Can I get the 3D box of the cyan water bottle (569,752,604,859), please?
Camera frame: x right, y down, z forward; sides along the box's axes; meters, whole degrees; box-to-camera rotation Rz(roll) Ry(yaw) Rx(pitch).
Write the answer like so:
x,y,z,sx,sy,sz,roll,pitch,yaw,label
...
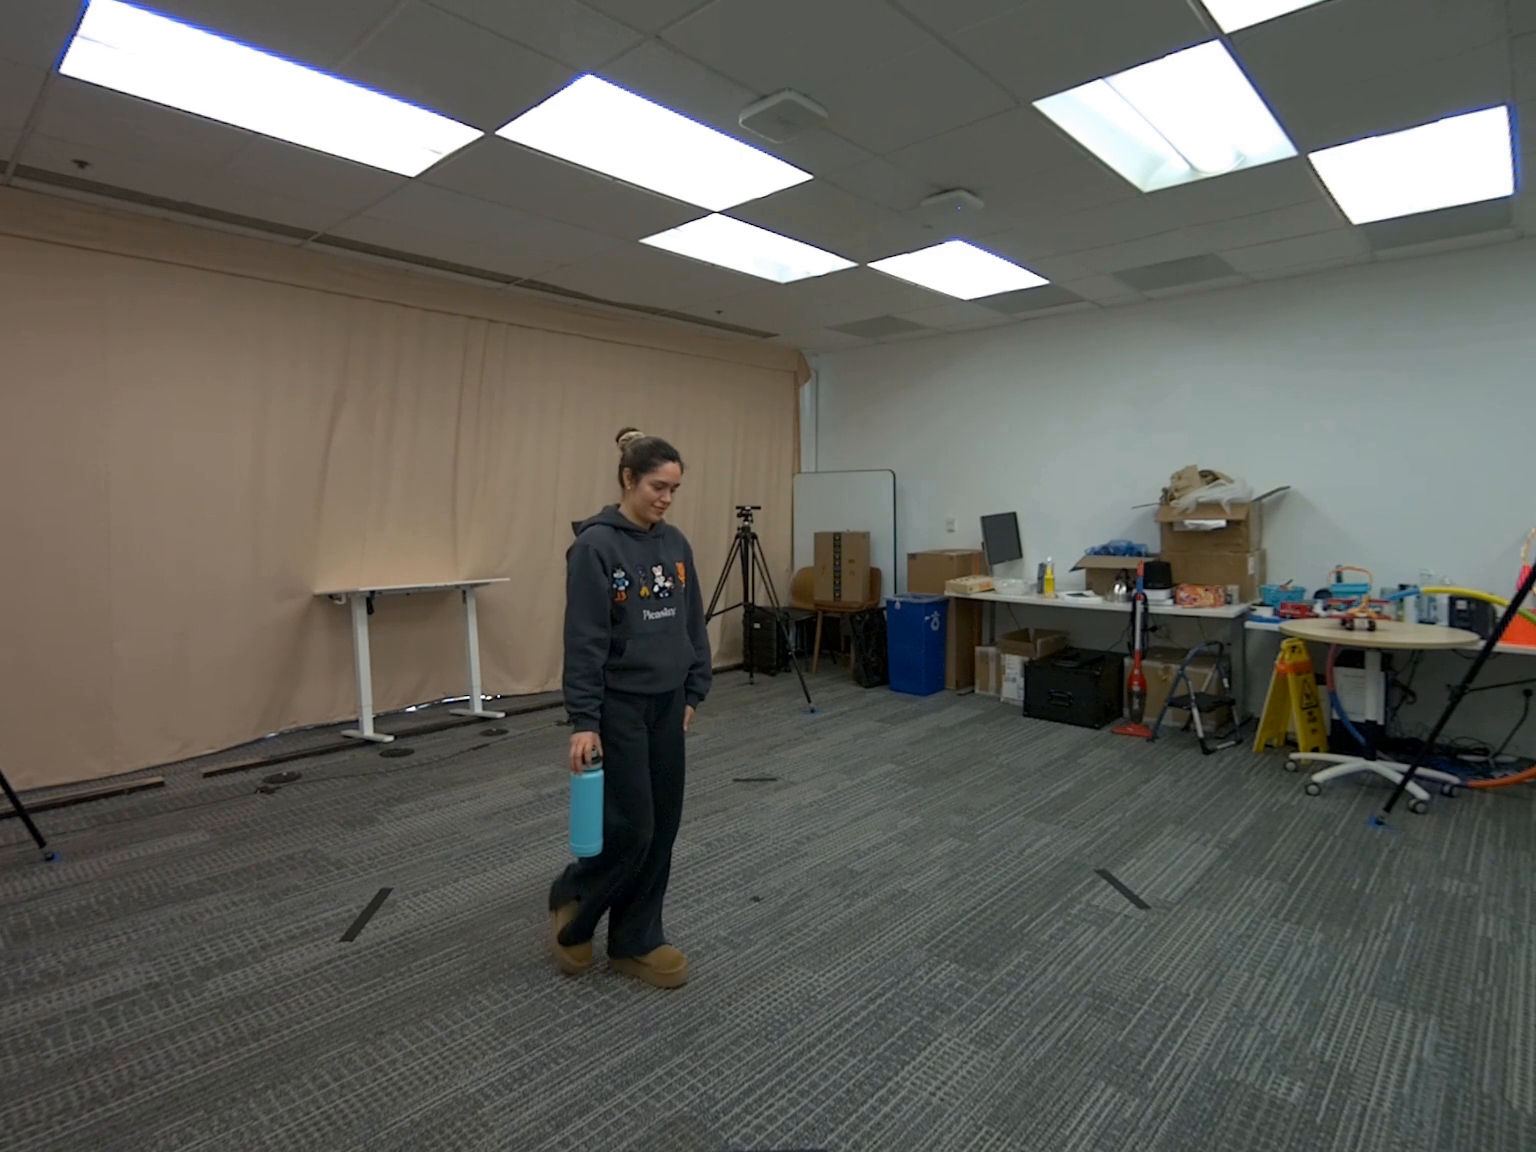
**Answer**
x,y,z,sx,sy,sz,roll,pitch,yaw,label
-0.484,0.610,2.292,0.092,0.283,0.092,2,3,-2,cyan water bottle
